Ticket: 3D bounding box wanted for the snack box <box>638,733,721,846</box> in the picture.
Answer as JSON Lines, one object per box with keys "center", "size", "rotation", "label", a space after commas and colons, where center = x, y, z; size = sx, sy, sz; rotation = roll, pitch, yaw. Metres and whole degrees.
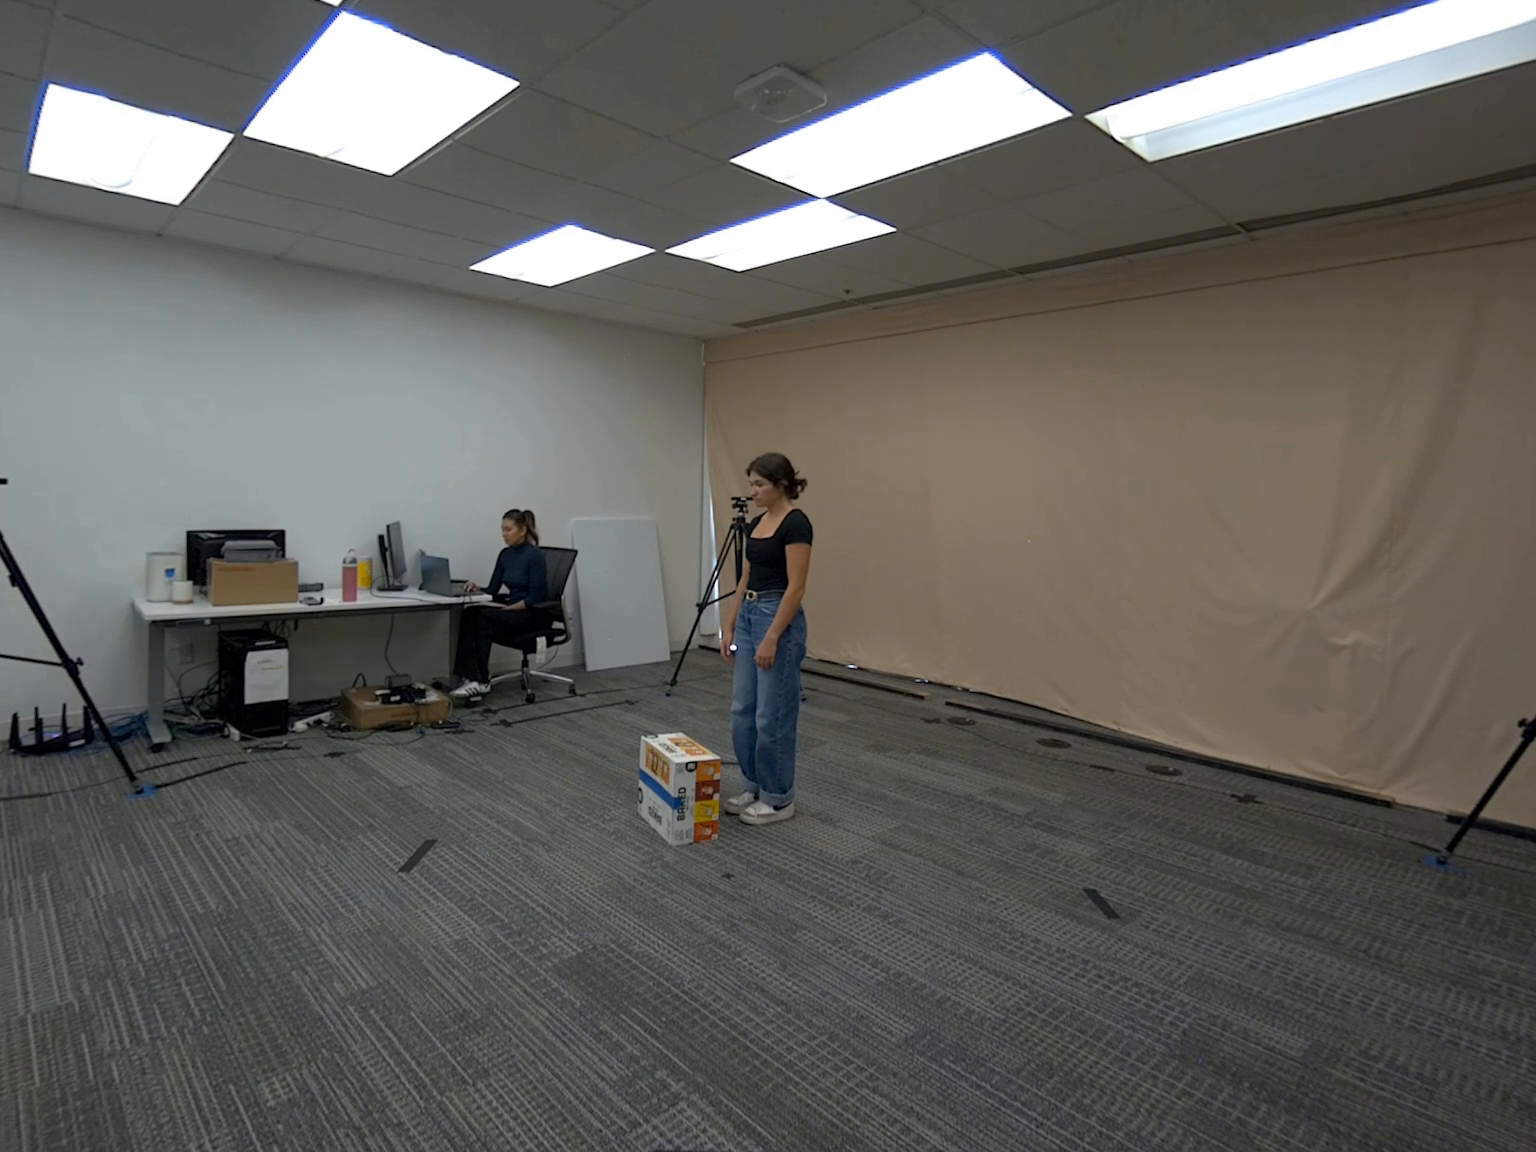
{"center": [-0.393, 0.893, 3.564], "size": [0.201, 0.340, 0.414], "rotation": [2, 3, -28], "label": "snack box"}
